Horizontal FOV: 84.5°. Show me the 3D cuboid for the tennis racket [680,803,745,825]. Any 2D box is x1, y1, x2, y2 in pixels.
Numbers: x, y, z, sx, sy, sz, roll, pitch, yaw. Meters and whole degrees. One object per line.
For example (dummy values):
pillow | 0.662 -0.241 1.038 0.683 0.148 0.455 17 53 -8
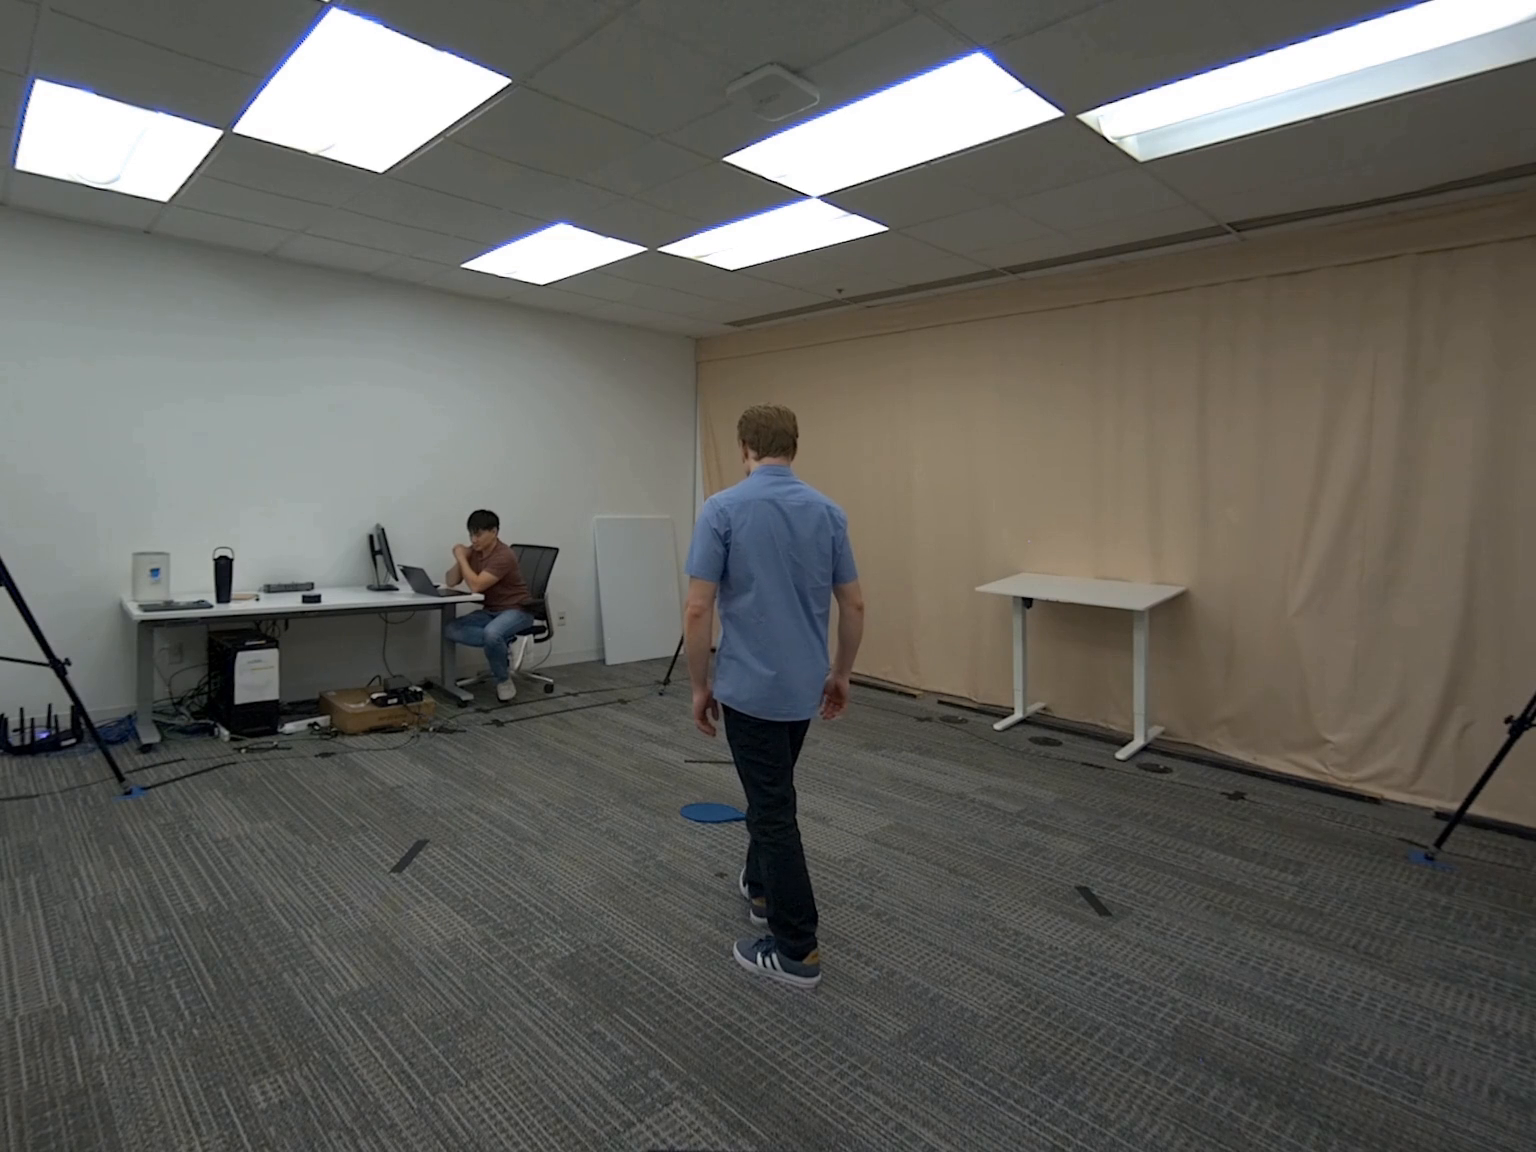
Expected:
tennis racket | -0.190 1.038 3.669 0.440 0.031 0.211 1 5 21
